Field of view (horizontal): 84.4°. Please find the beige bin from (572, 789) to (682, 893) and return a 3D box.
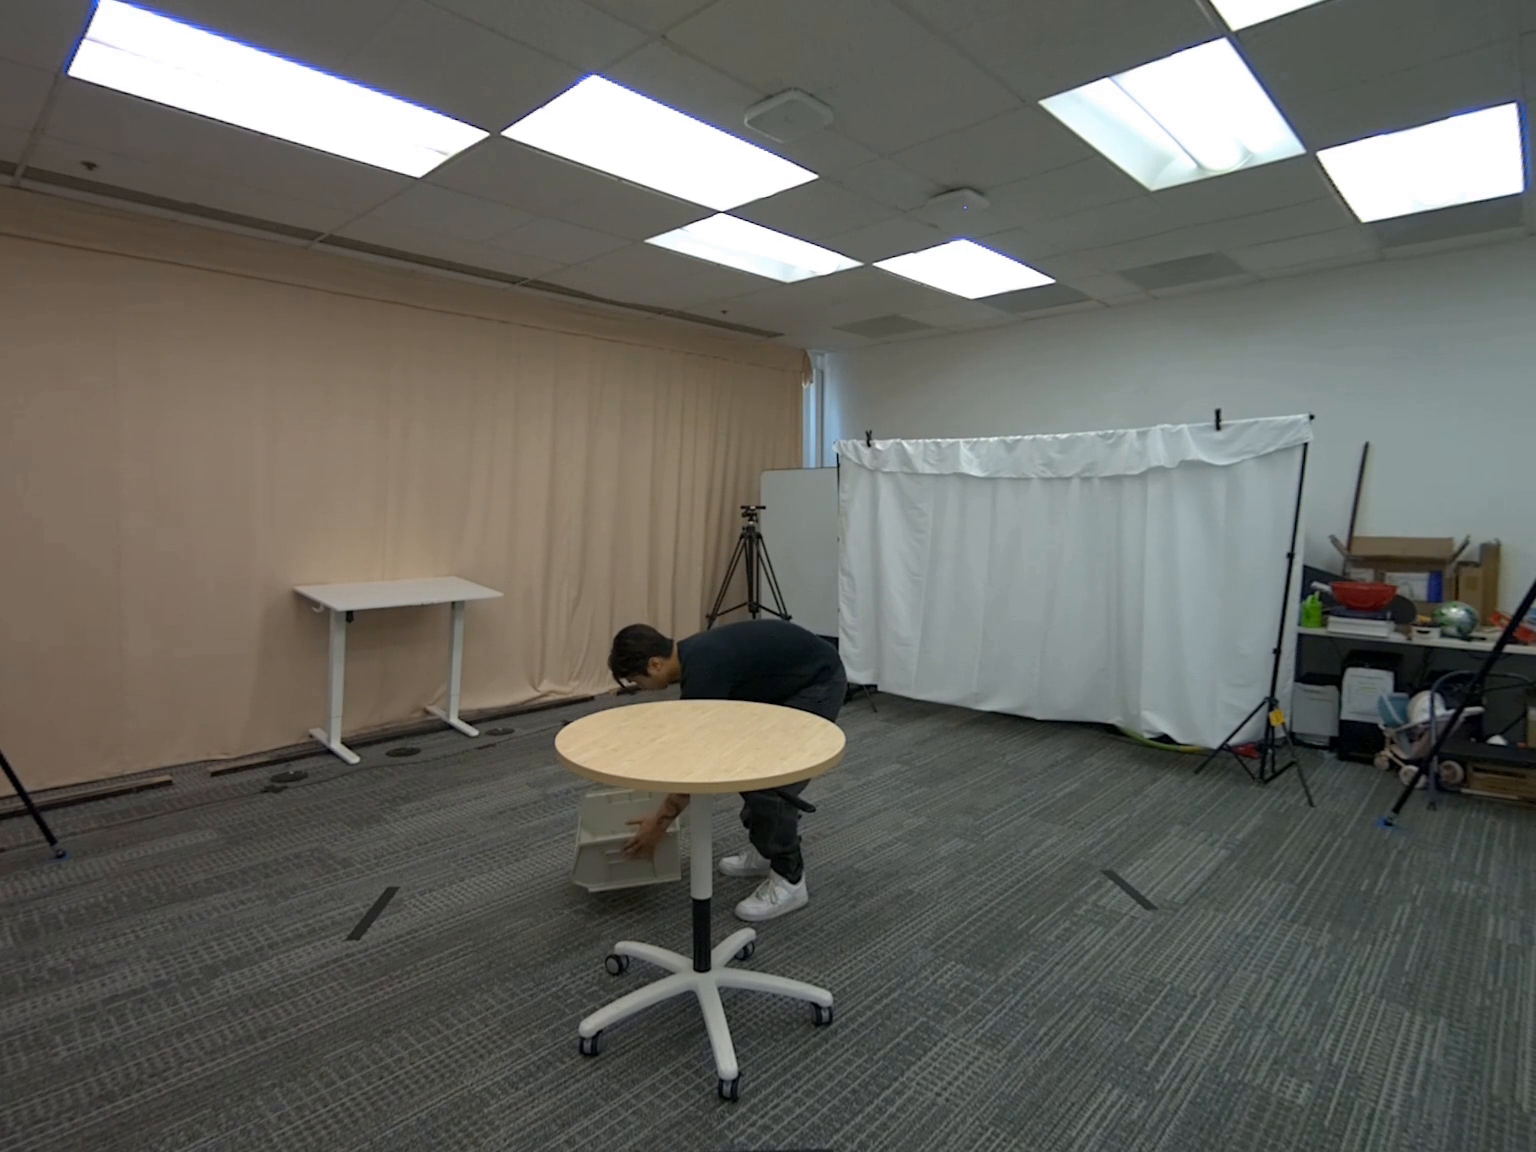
[{"bbox_3d":[-0.503,0.942,3.036,0.375,0.188,0.427,-4,8,-7],"label":"beige bin"}]
